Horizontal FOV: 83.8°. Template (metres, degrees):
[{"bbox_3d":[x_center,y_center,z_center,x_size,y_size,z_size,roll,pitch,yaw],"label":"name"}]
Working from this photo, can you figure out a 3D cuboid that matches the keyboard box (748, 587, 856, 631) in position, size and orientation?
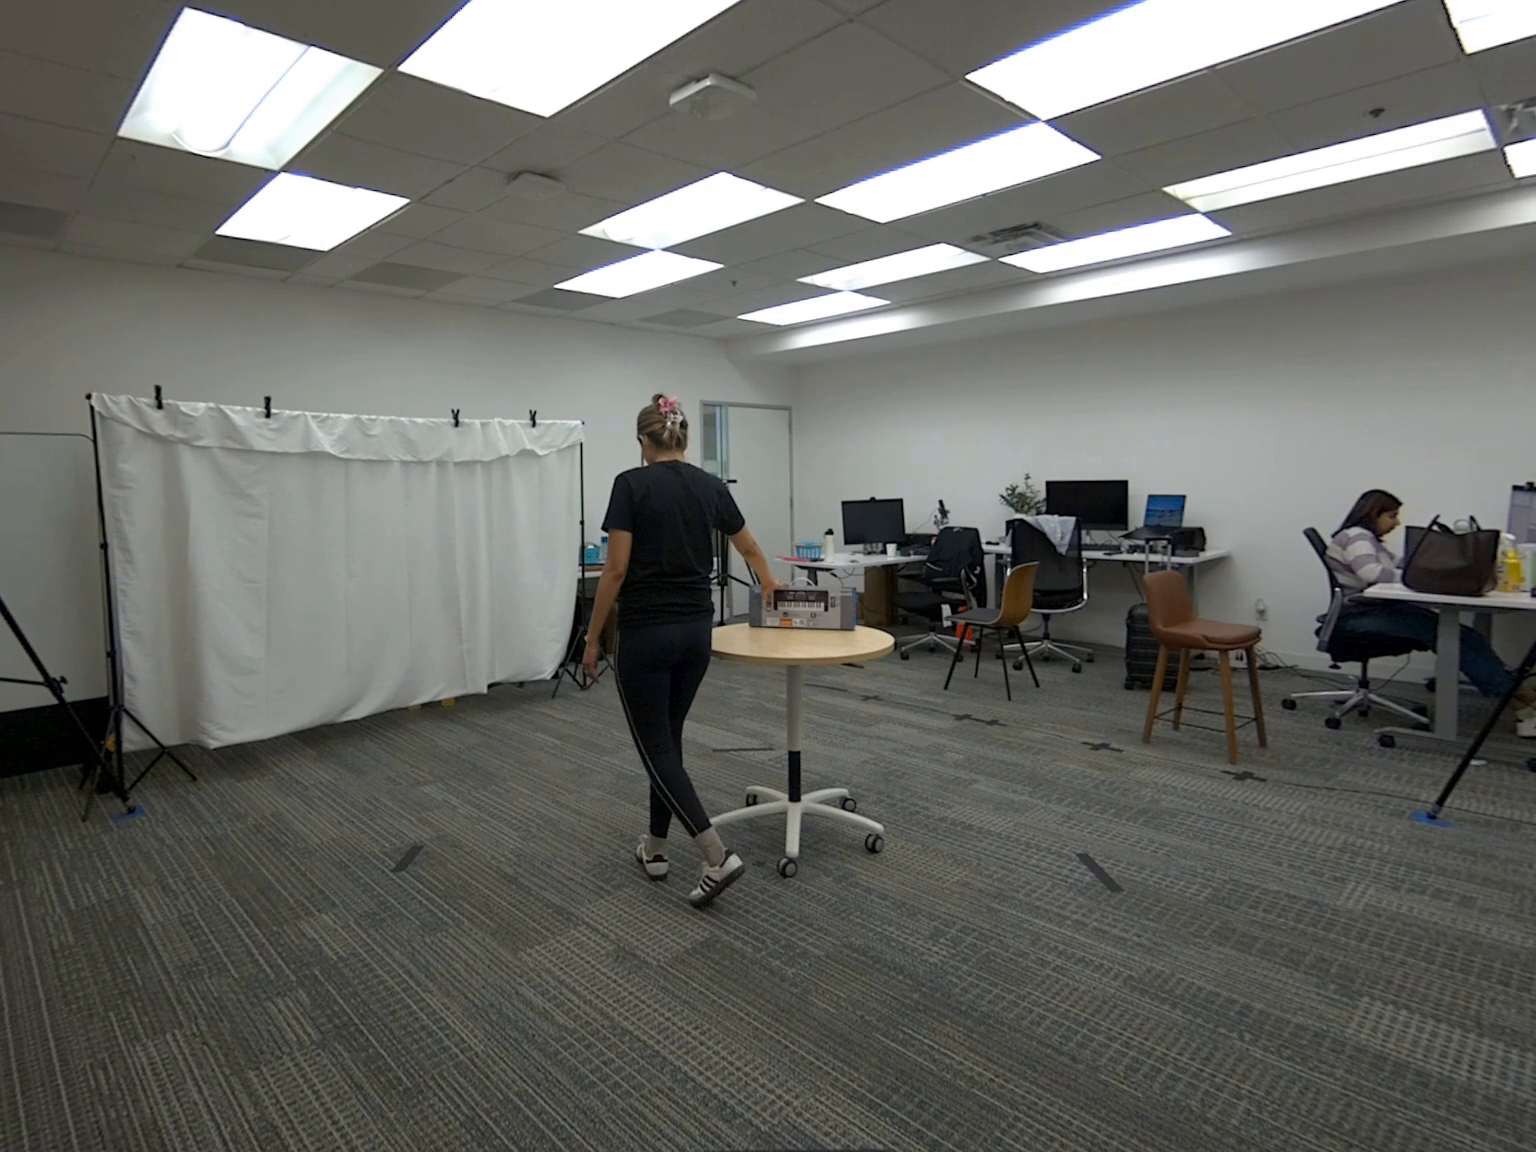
[{"bbox_3d":[0.139,0.128,3.509,0.443,0.176,0.058,0,1,15],"label":"keyboard box"}]
